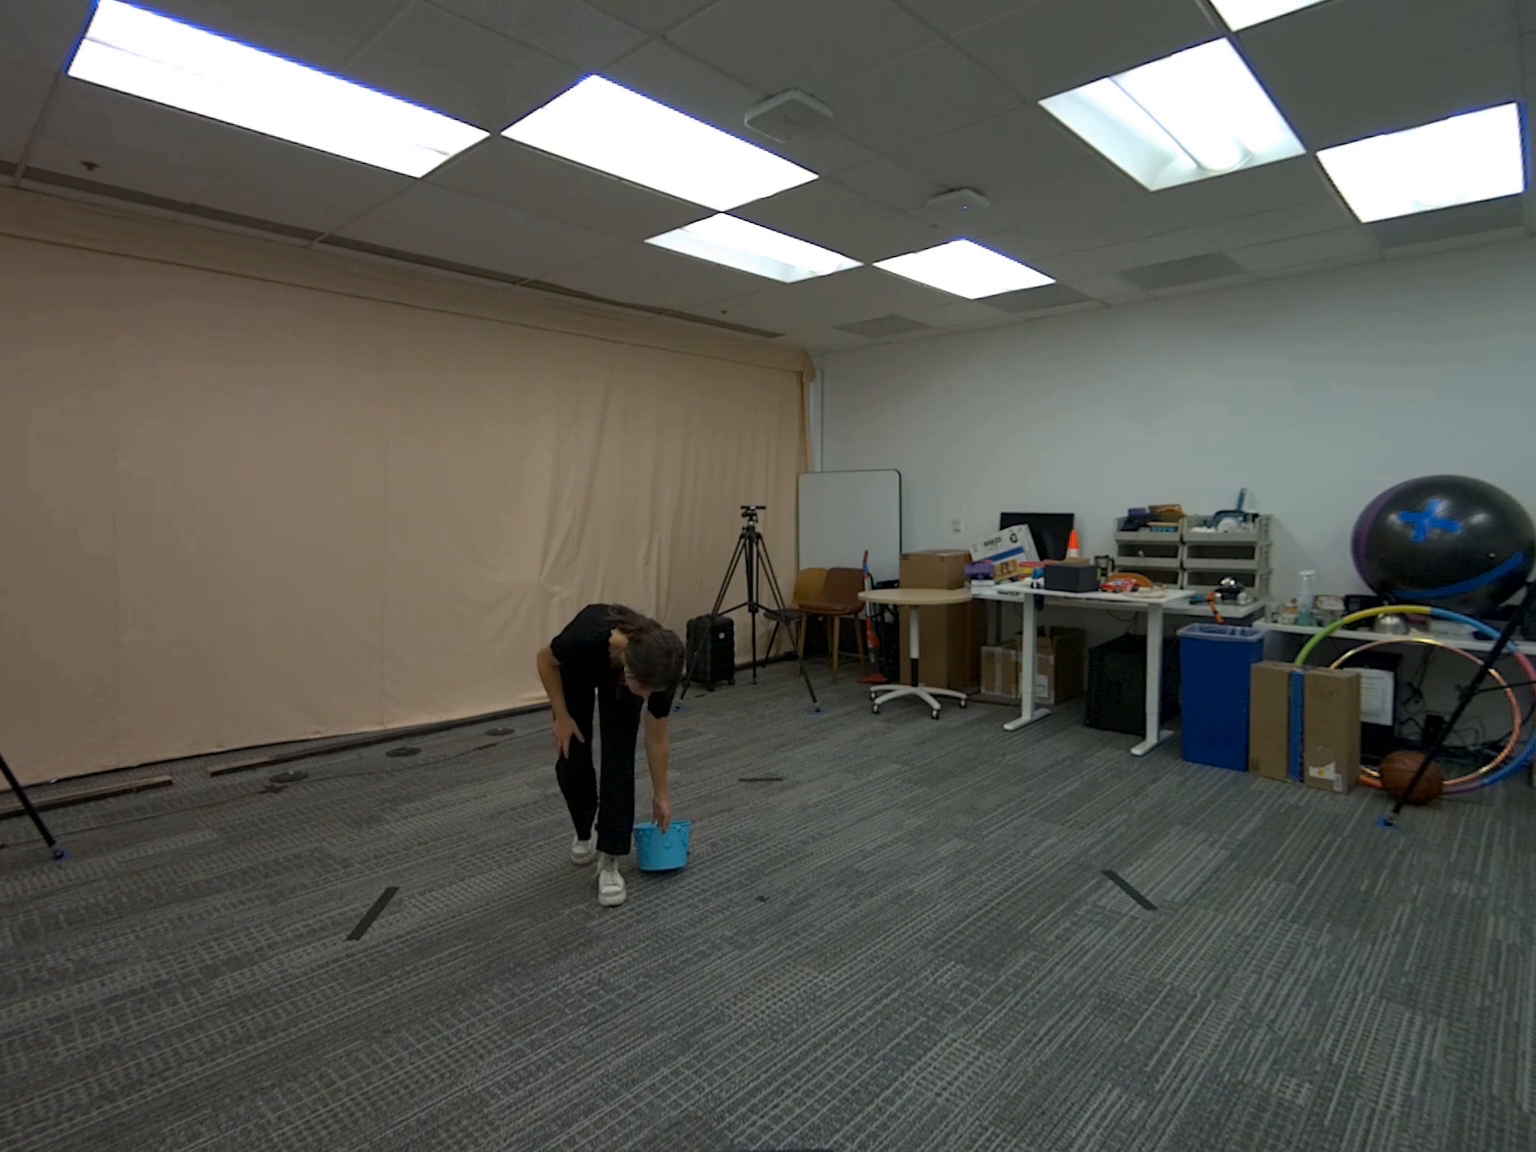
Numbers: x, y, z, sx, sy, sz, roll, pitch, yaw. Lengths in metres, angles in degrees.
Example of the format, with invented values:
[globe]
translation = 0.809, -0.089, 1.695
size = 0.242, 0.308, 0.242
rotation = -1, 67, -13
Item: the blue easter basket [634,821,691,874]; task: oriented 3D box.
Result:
[blue easter basket]
translation = -0.411, 1.031, 3.223
size = 0.243, 0.157, 0.242
rotation = -3, -10, -2
